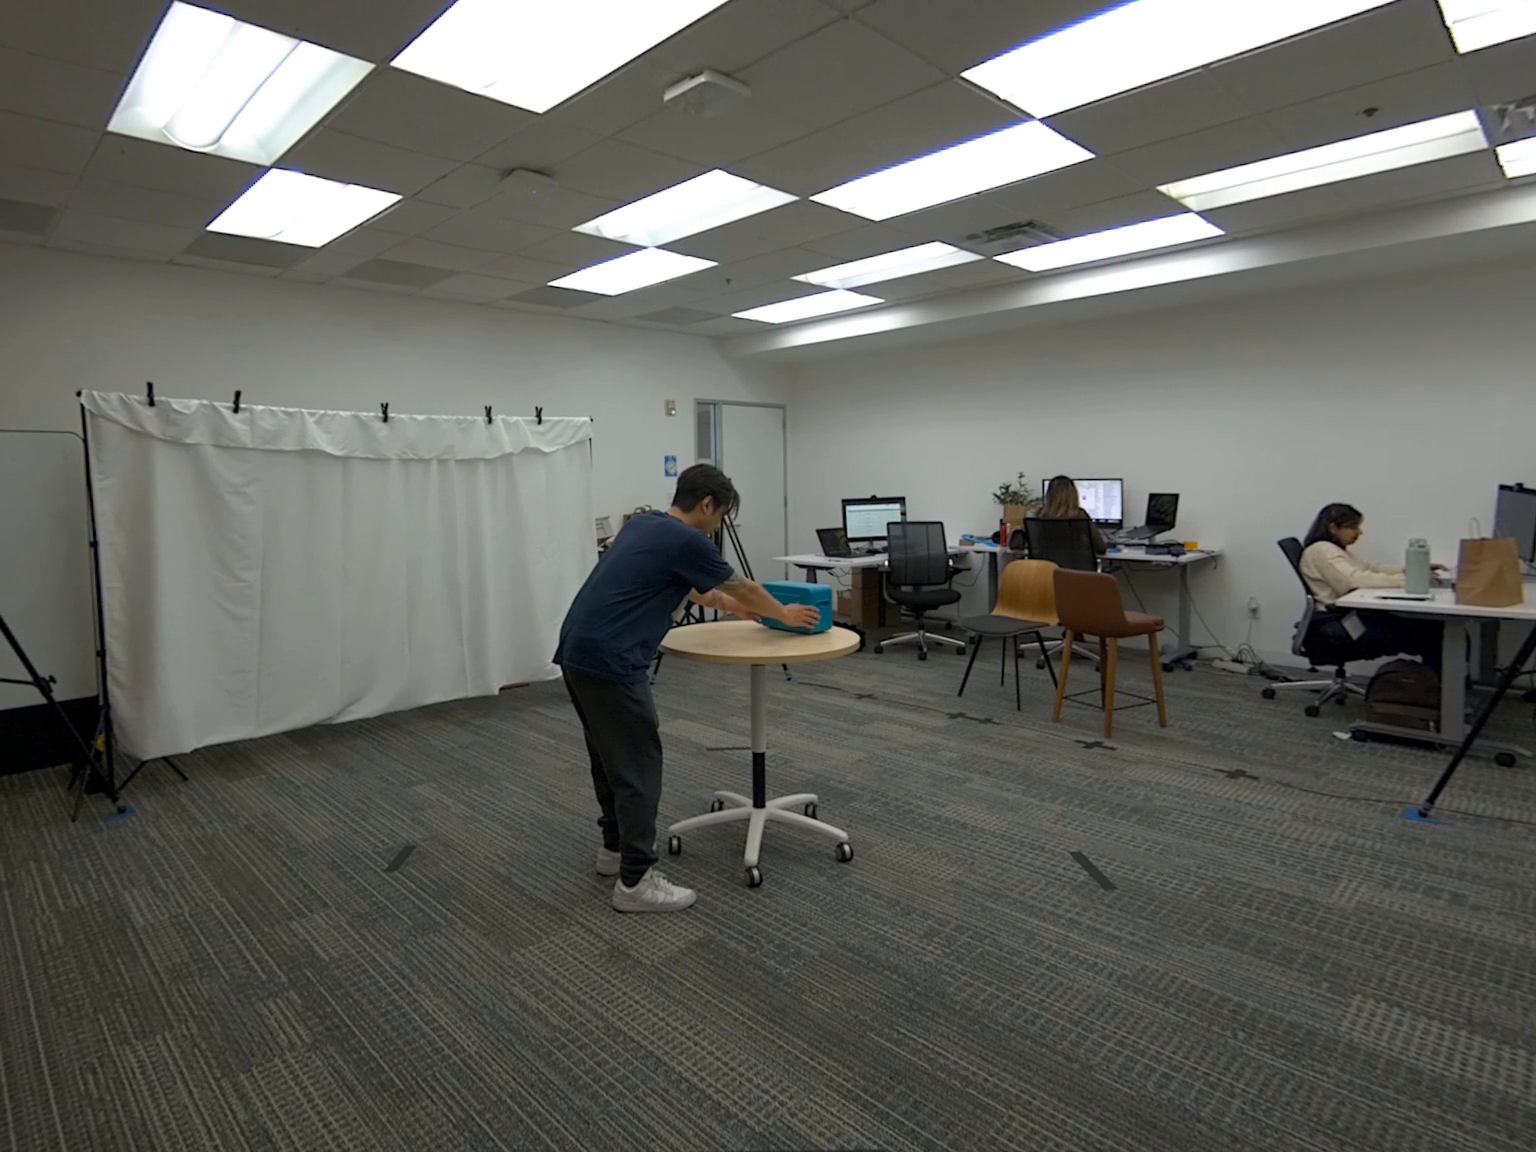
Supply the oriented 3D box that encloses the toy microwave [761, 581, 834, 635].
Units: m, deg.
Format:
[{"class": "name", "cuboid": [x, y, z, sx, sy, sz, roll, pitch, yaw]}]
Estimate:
[{"class": "toy microwave", "cuboid": [0.118, 0.120, 3.372, 0.148, 0.183, 0.295, -4, 6, -42]}]
